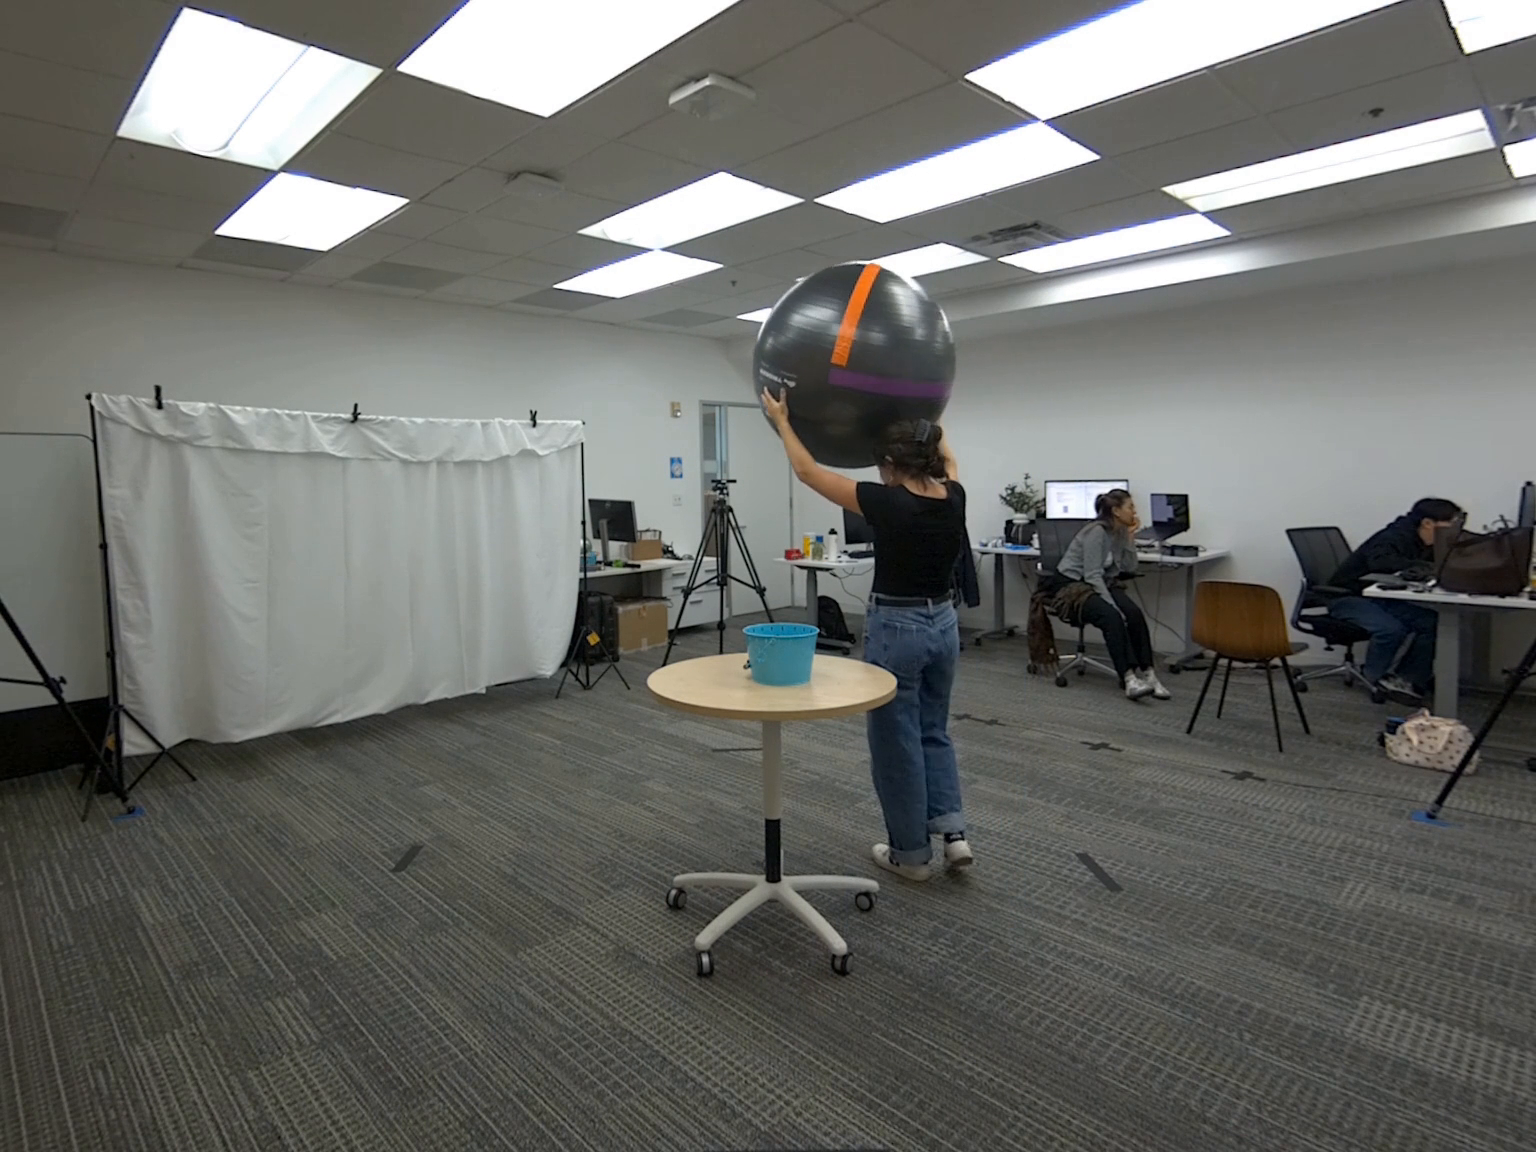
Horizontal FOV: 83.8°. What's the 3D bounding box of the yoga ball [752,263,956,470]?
[{"bbox_3d":[0.318,-0.772,3.222,0.757,0.755,0.762,-1,5,-2],"label":"yoga ball"}]
